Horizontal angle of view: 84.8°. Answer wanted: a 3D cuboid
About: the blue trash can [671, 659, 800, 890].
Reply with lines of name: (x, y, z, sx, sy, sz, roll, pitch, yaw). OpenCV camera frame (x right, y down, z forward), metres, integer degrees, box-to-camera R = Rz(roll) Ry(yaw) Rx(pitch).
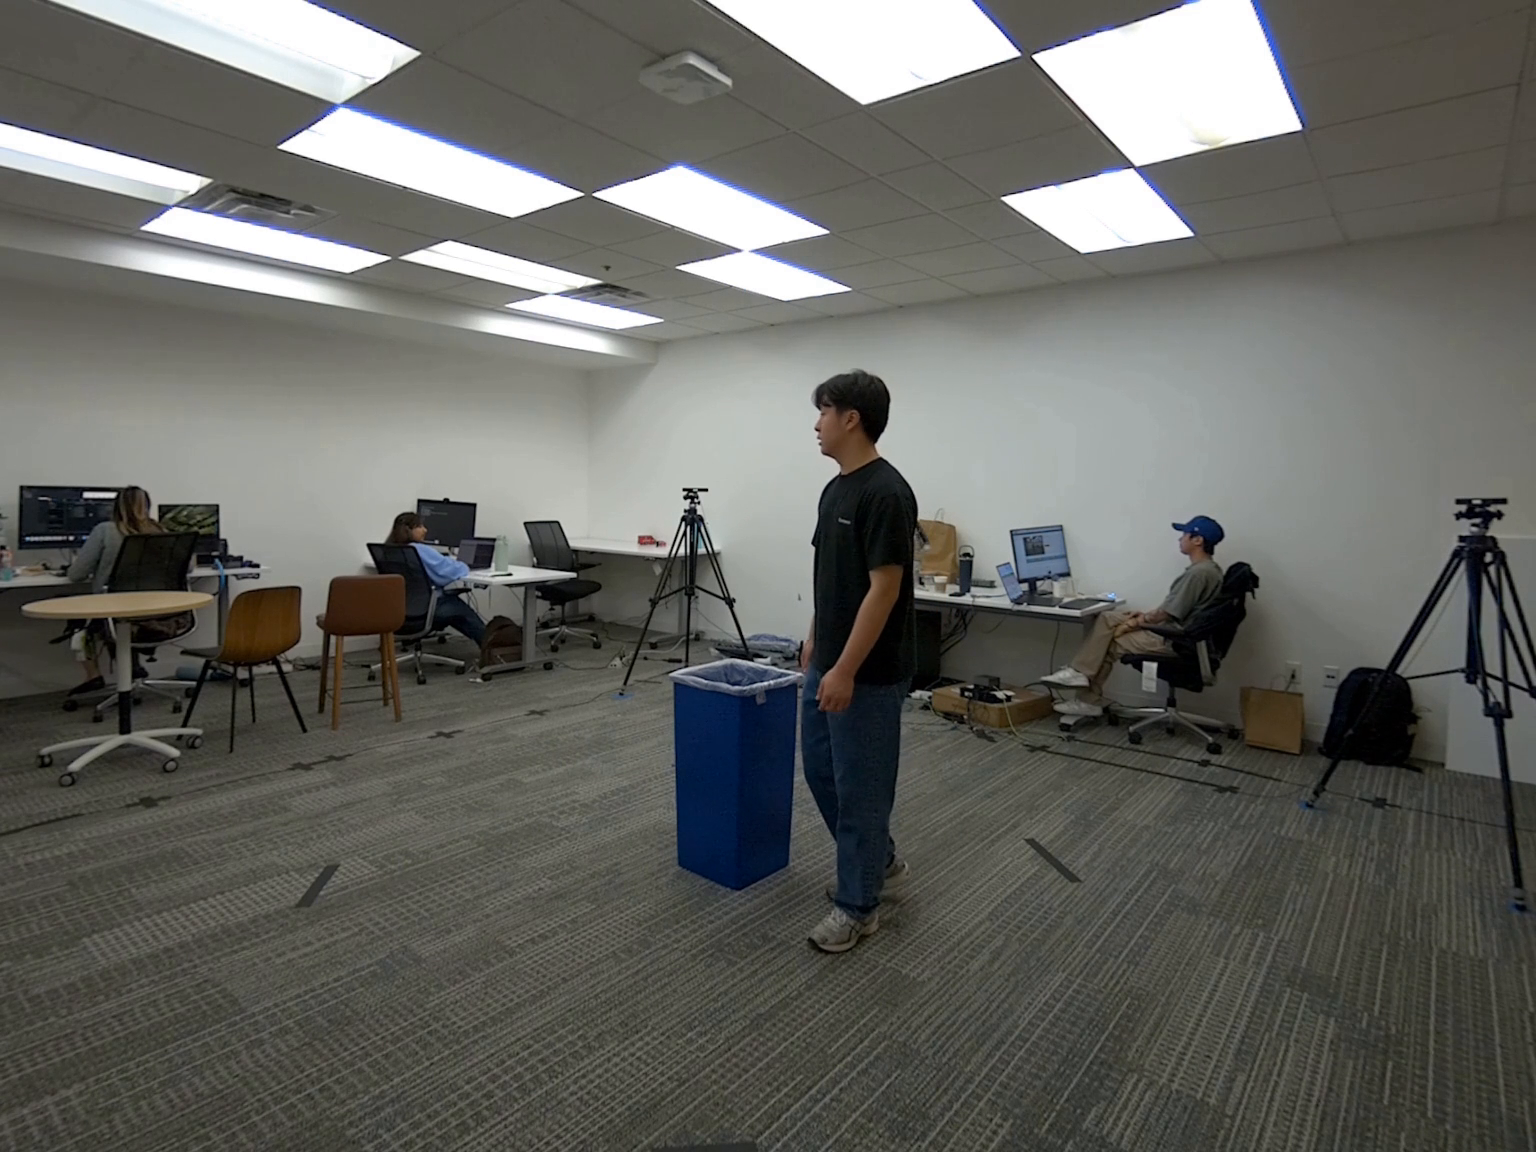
blue trash can: (-0.138, 0.709, 3.139, 0.387, 0.712, 0.366, 4, 4, 41)
